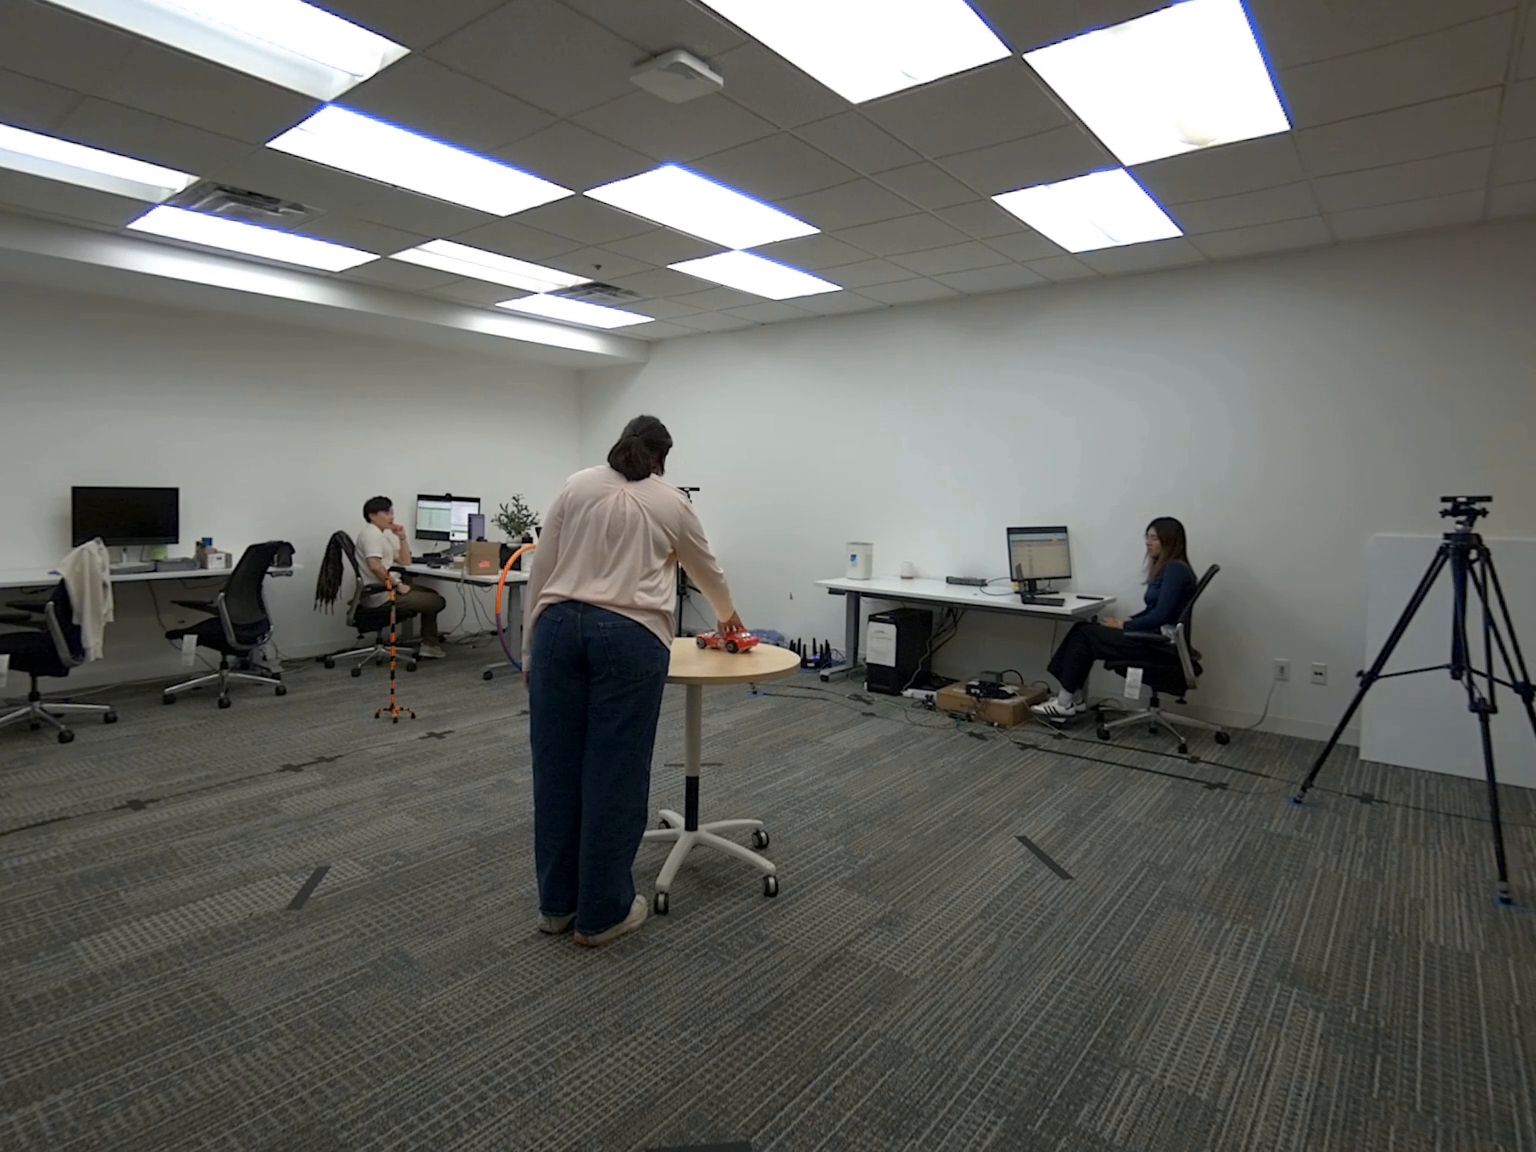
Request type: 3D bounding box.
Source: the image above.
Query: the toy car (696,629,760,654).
[{"bbox_3d":[-0.158,0.246,3.210,0.261,0.083,0.126,-8,-2,35],"label":"toy car"}]
